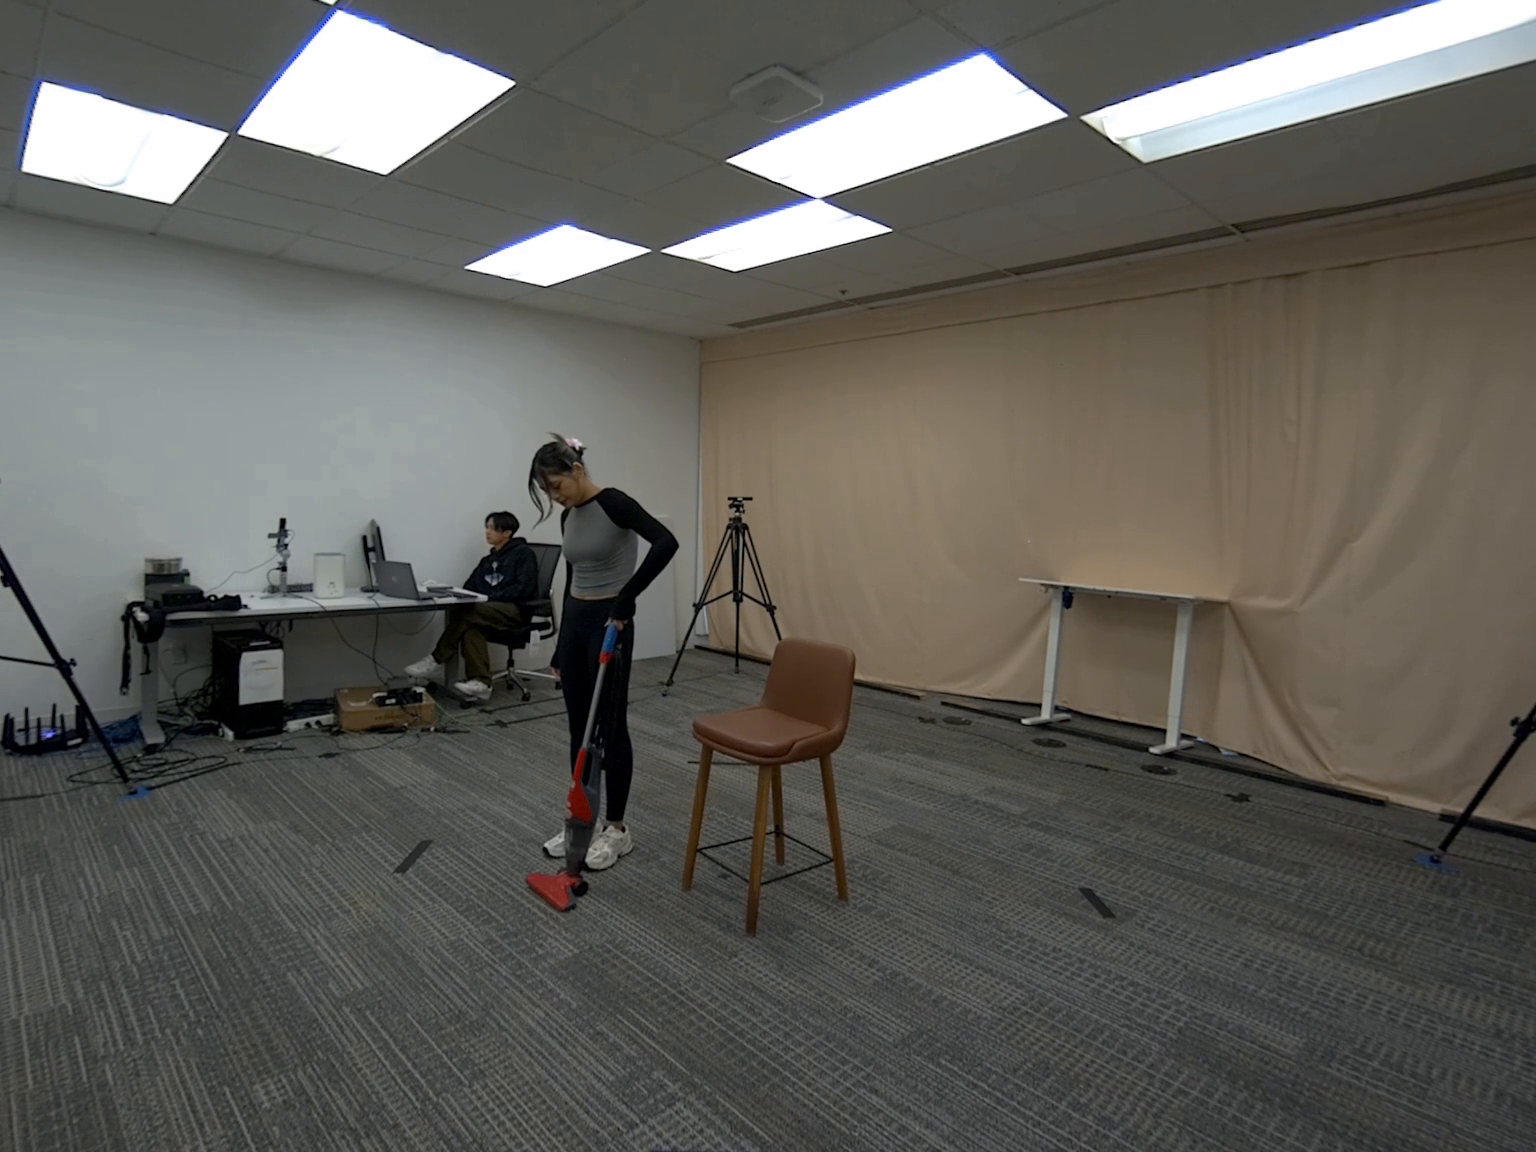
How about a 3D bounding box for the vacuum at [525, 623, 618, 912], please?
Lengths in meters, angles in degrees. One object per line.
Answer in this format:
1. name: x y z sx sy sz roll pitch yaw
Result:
1. vacuum: -0.613 0.607 2.949 0.259 1.050 0.140 10 -2 42
